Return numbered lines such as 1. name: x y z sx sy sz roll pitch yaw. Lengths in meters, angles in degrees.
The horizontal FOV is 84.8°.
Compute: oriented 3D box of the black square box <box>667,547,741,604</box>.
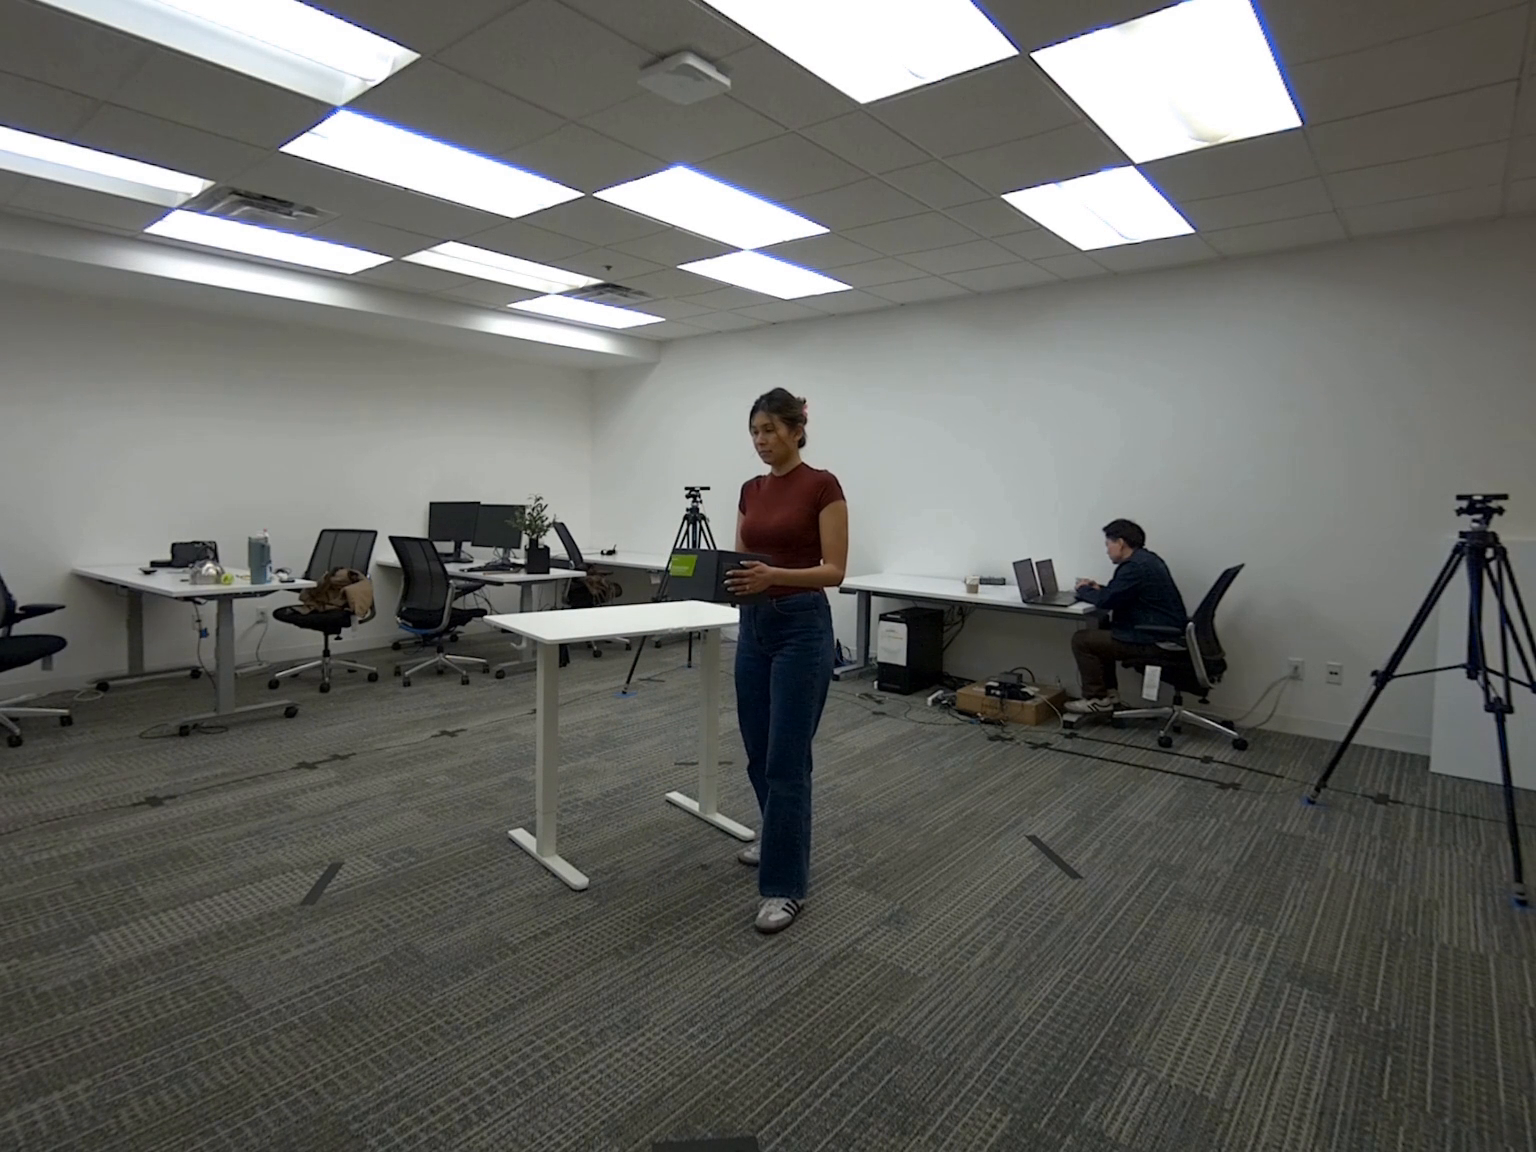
1. black square box: -0.155 0.000 2.602 0.210 0.156 0.235 5 -1 -39
